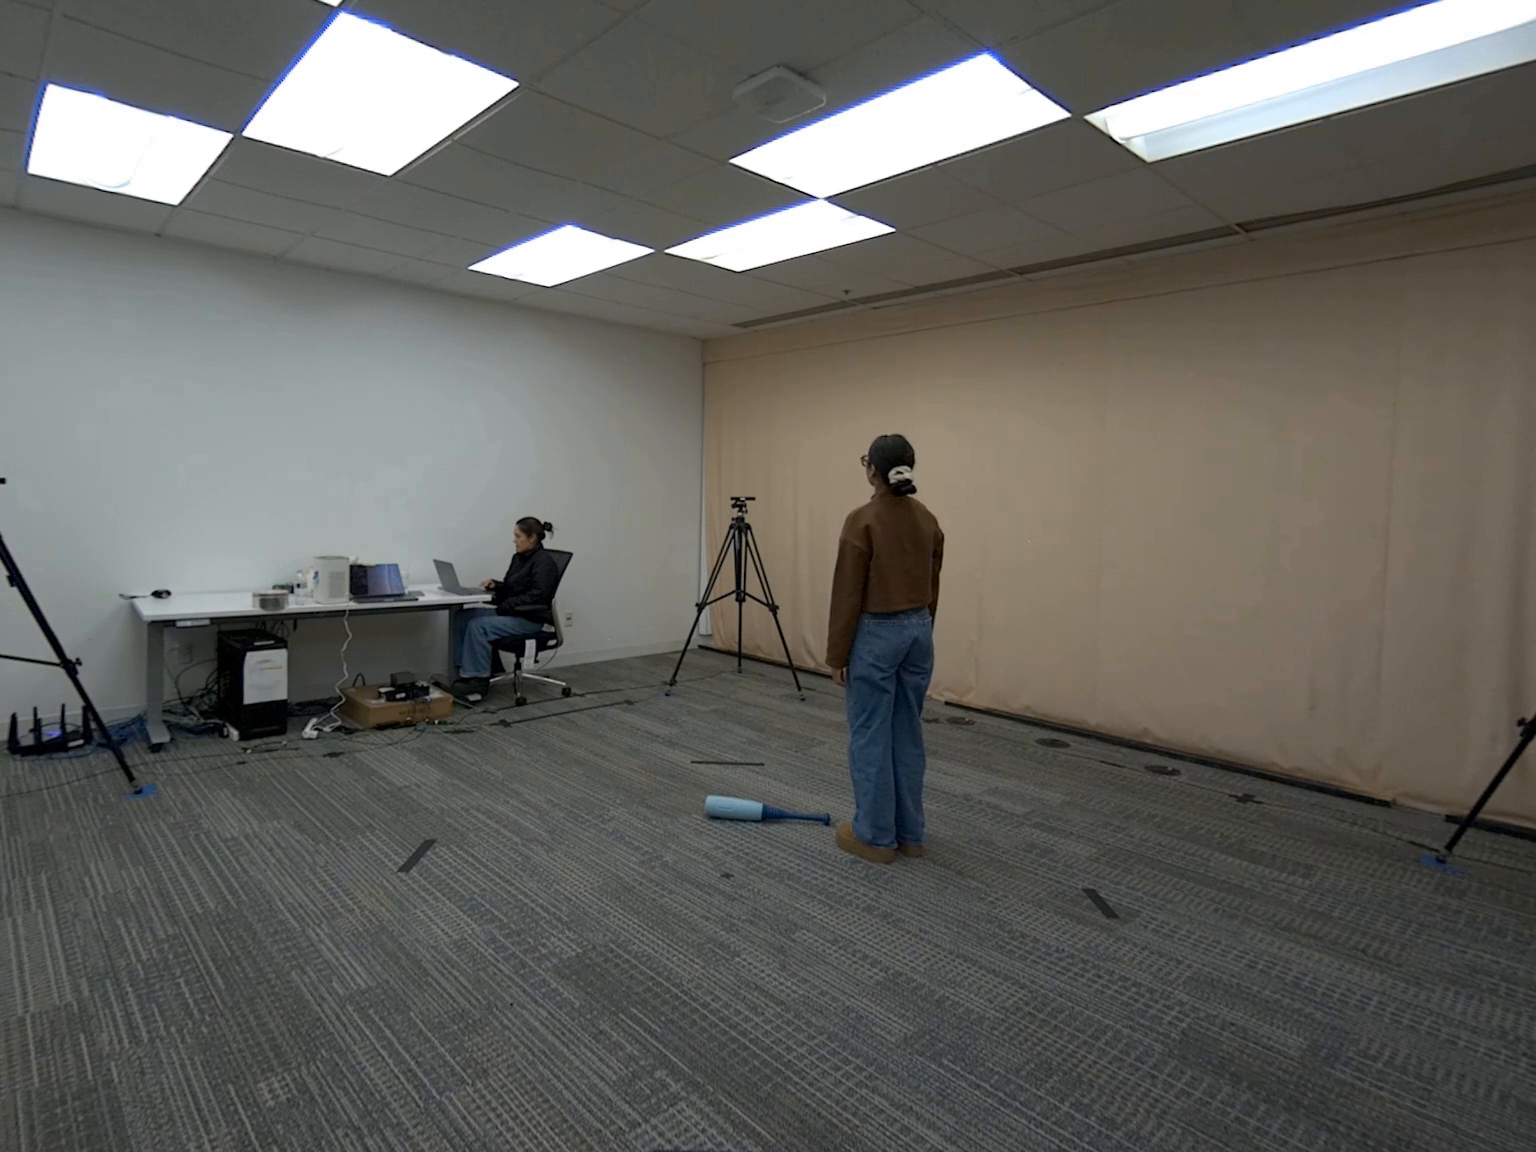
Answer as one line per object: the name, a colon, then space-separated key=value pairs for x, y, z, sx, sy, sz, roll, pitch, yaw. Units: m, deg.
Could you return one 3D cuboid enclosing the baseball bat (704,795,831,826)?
baseball bat: x=-0.011 y=1.023 z=3.648 sx=0.545 sy=0.089 sz=0.089 roll=4 pitch=4 yaw=5
